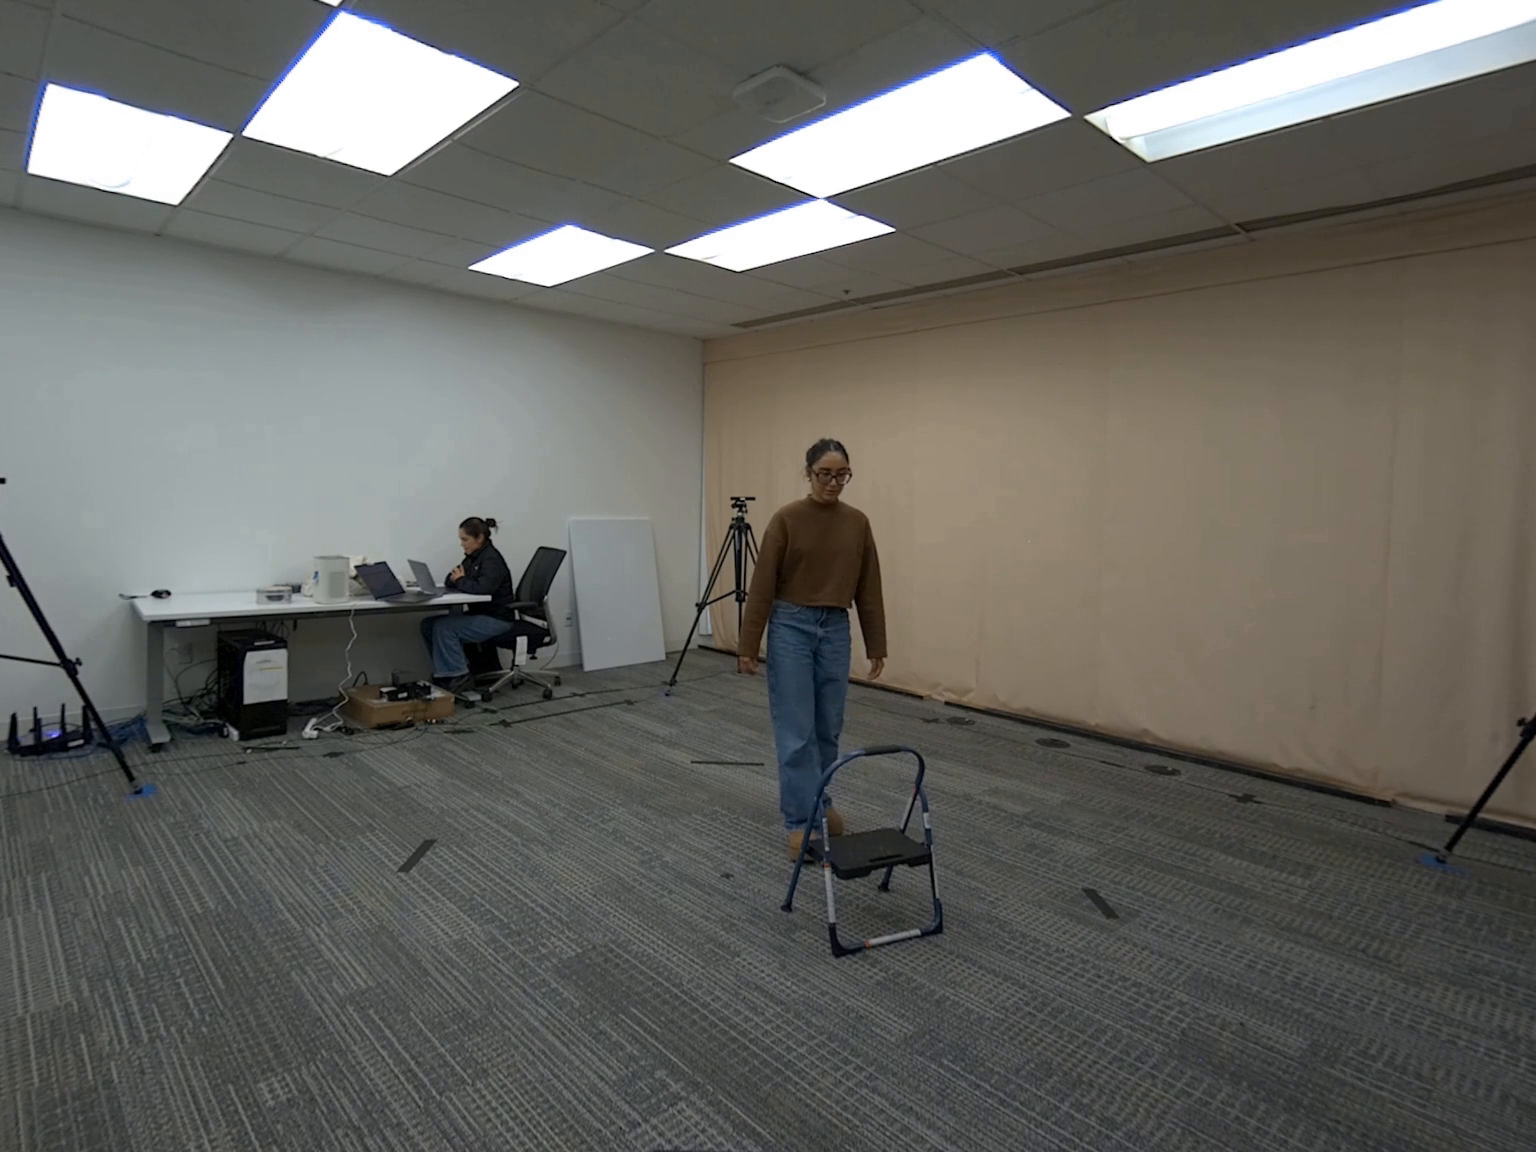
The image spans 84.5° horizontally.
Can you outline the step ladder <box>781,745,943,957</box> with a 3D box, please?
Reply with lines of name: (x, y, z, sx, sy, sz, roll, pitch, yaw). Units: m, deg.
step ladder: (0.313, 0.843, 2.780, 0.422, 0.604, 0.357, 0, 4, -27)
